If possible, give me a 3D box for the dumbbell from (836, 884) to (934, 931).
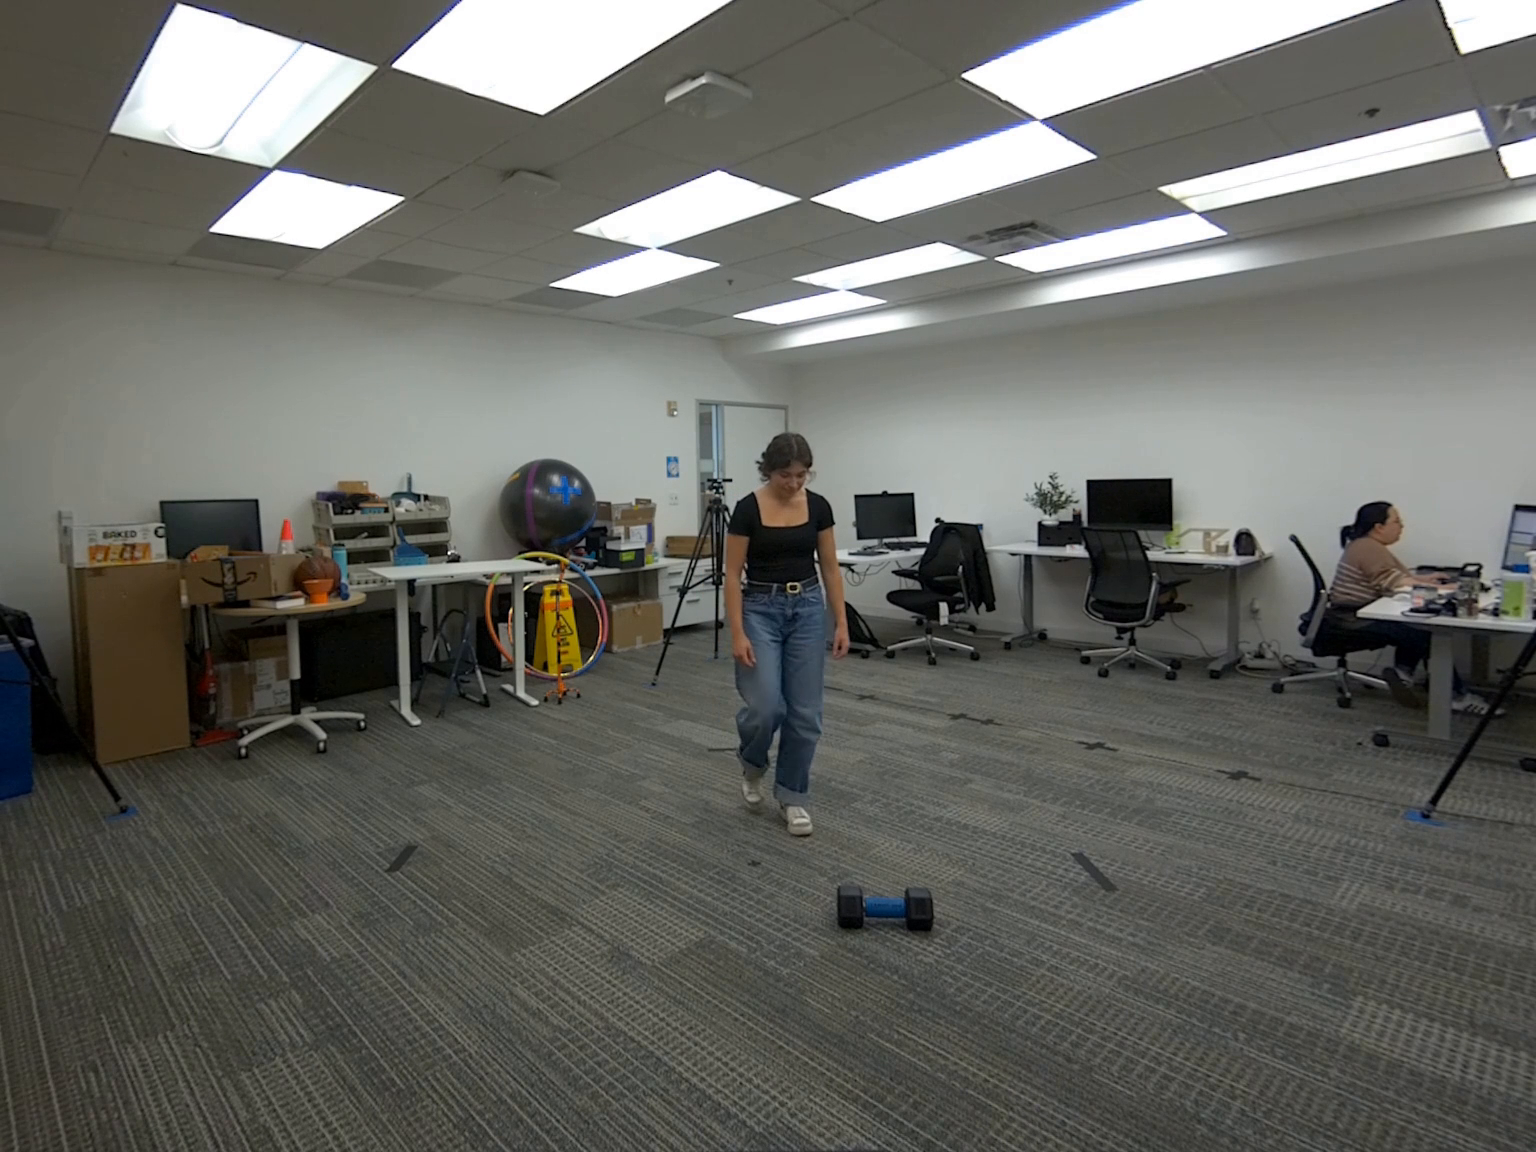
[{"bbox_3d":[0.369,1.038,2.660,0.295,0.120,0.111,-1,33,5],"label":"dumbbell"}]
